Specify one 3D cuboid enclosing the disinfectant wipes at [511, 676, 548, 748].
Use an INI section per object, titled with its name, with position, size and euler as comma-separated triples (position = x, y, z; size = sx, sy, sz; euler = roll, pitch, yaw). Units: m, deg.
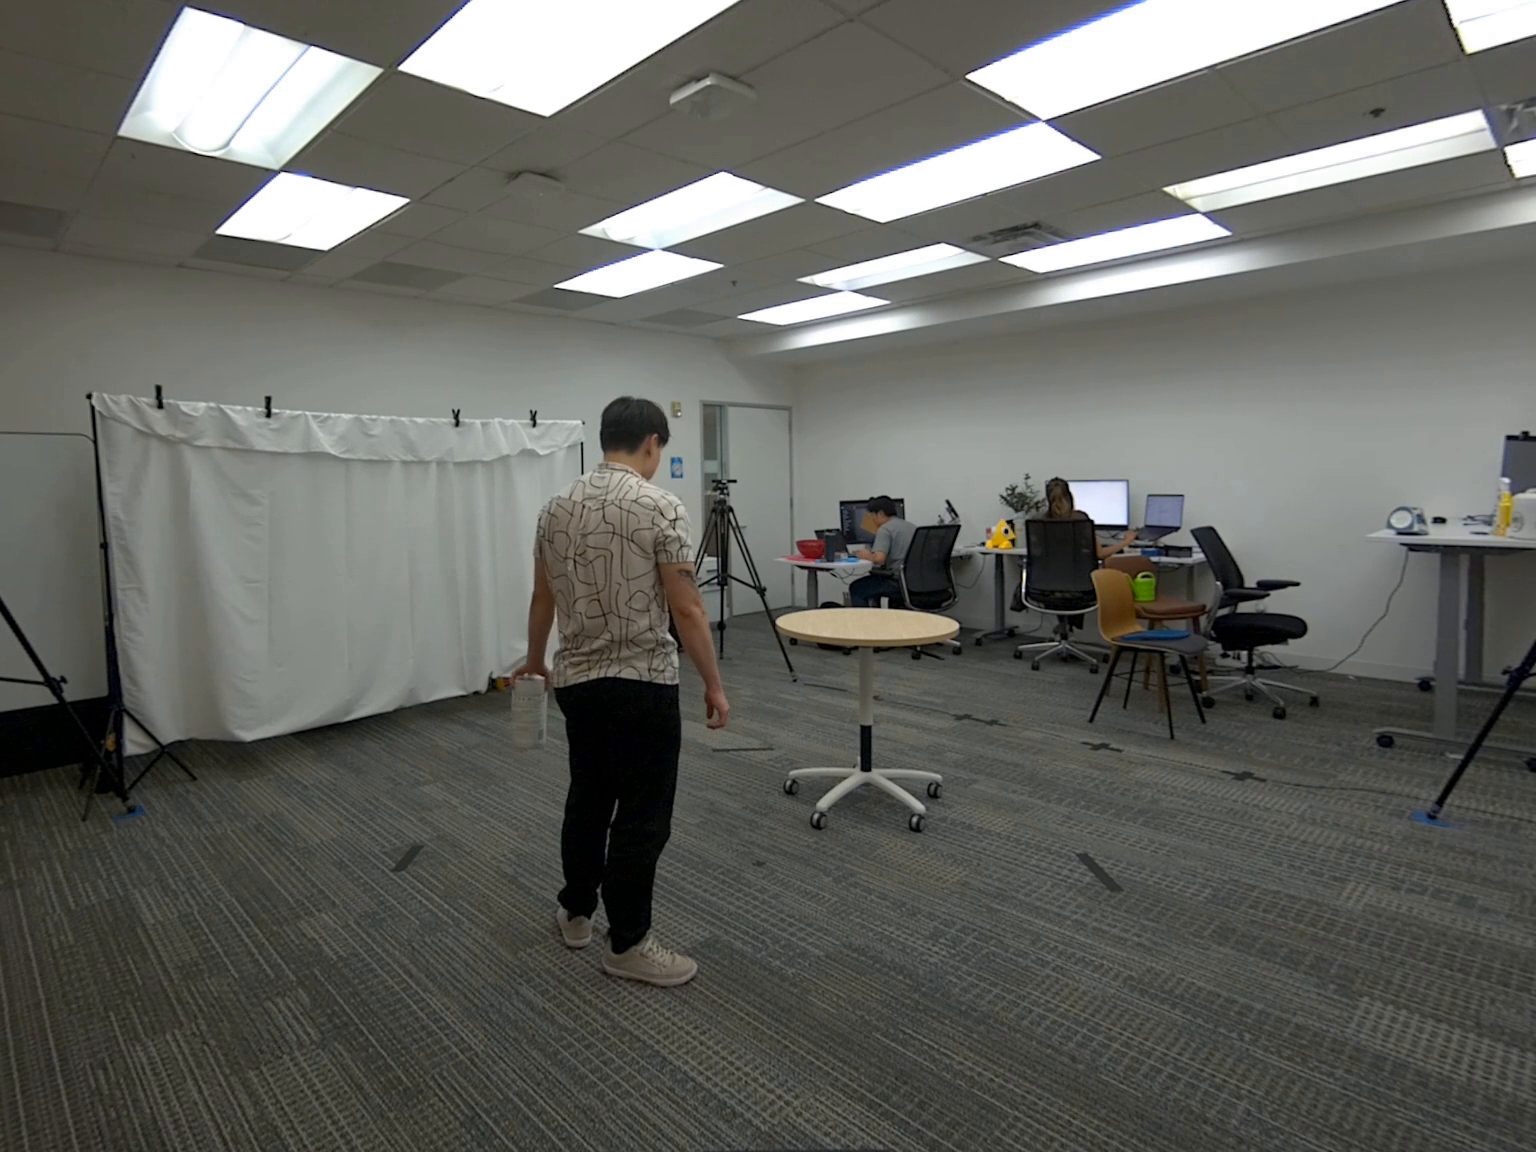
[disinfectant wipes]
position = -0.750, 0.435, 2.711
size = 0.118, 0.217, 0.118
euler = 2, 3, -2
